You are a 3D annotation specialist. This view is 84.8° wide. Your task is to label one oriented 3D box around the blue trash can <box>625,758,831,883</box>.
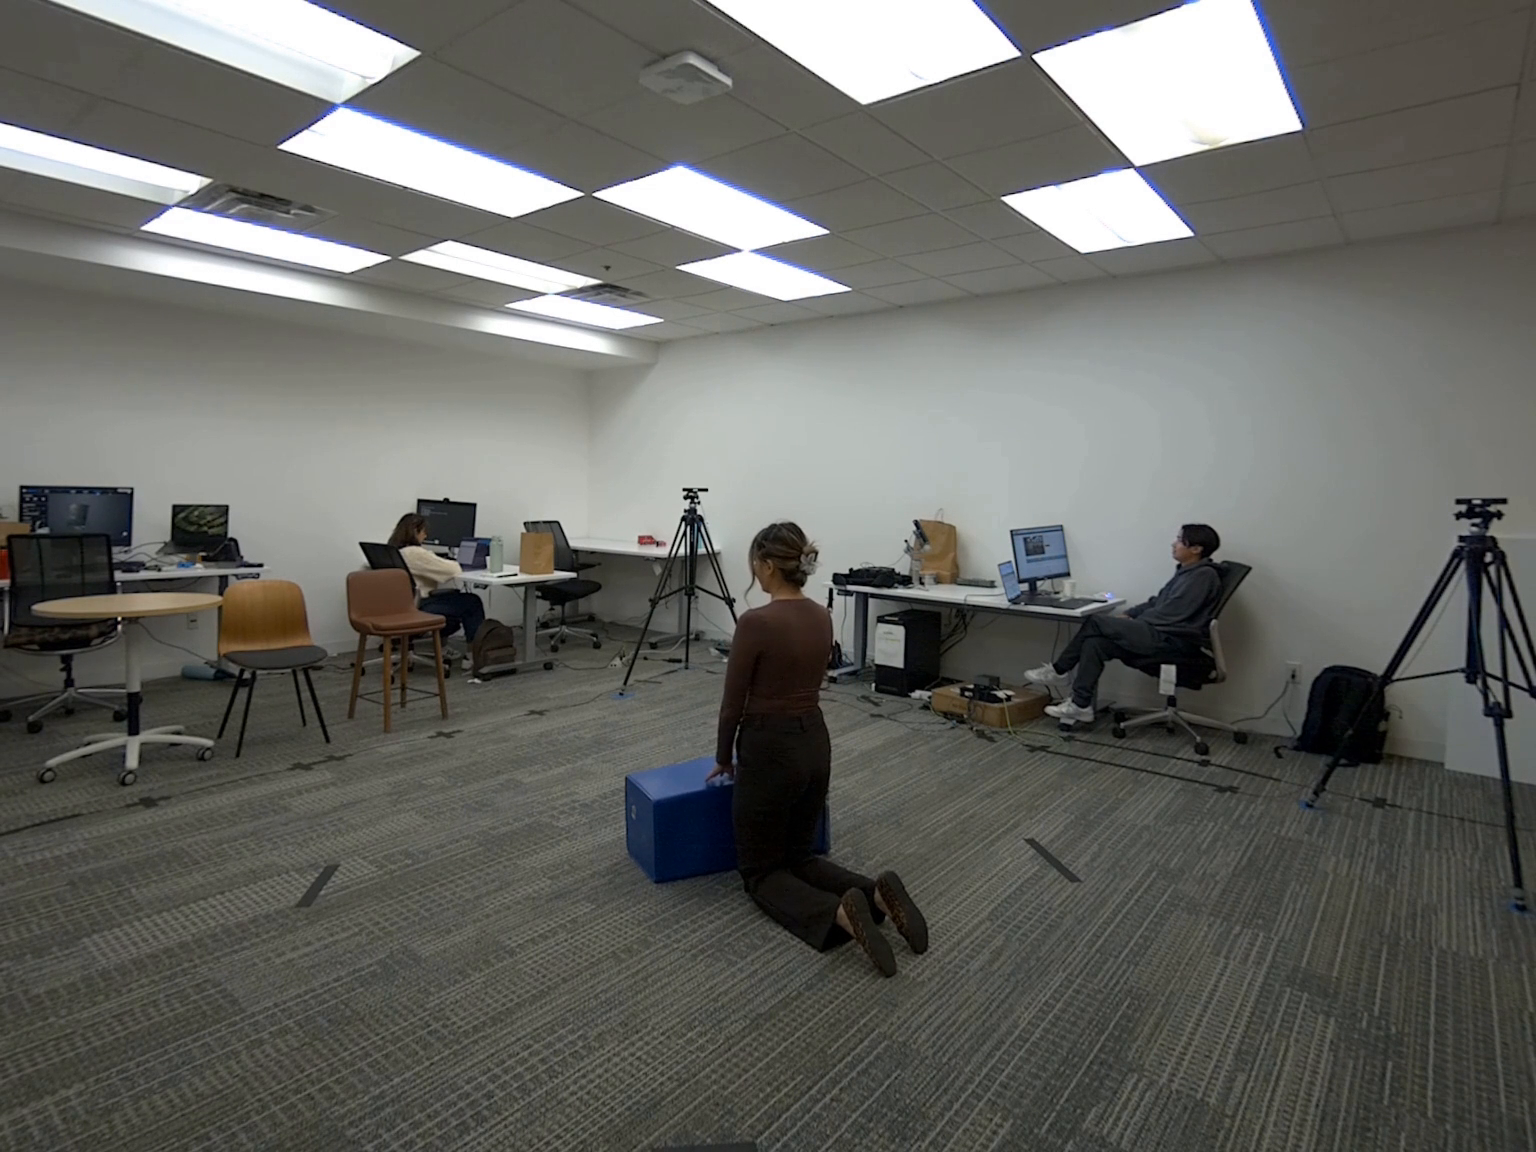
[{"bbox_3d":[-0.171,0.883,3.257,0.697,0.376,0.385,-4,6,-26],"label":"blue trash can"}]
